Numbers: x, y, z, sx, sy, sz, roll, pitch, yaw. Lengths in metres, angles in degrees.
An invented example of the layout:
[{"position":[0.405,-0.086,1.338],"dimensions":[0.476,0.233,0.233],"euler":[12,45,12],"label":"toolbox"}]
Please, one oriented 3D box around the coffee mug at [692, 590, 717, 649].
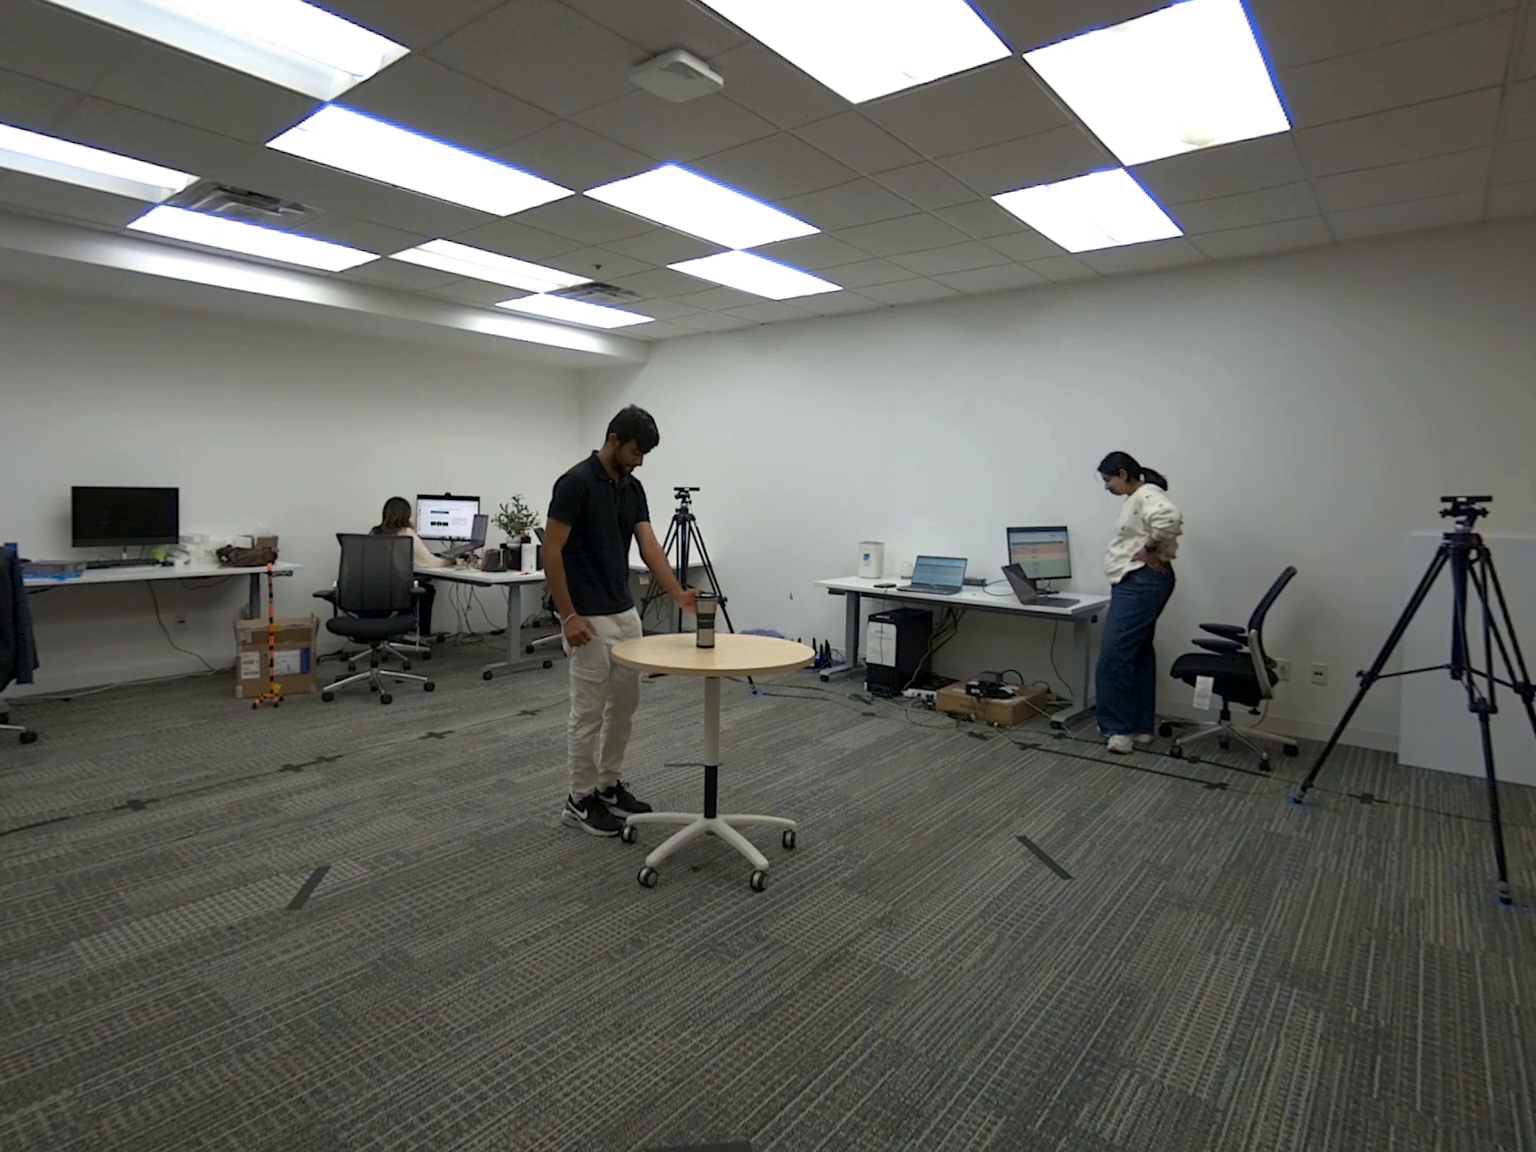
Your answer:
[{"position":[-0.239,0.168,3.271],"dimensions":[0.089,0.202,0.121],"euler":[-2,6,10],"label":"coffee mug"}]
